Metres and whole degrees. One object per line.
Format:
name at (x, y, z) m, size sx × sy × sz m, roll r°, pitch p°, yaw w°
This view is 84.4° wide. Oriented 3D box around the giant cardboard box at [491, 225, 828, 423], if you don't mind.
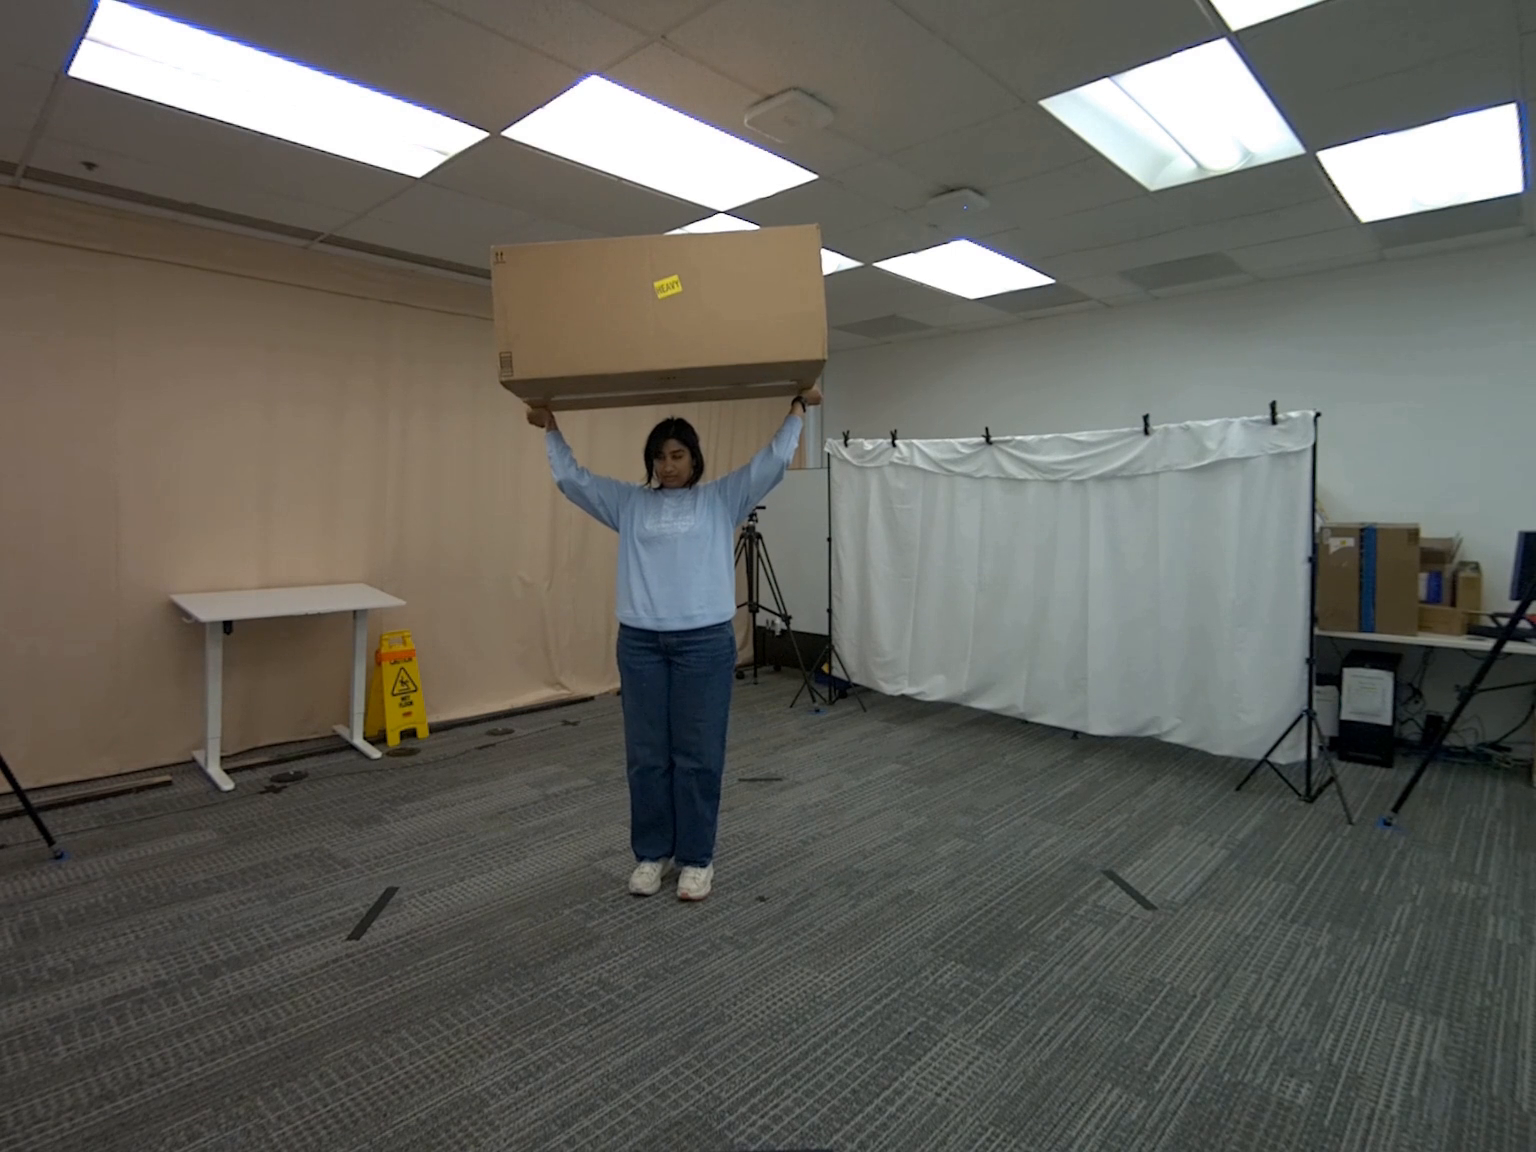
giant cardboard box at (-0.351, -0.846, 2.869) m, size 1.027 × 0.426 × 0.577 m, roll -4°, pitch 0°, yaw 1°
